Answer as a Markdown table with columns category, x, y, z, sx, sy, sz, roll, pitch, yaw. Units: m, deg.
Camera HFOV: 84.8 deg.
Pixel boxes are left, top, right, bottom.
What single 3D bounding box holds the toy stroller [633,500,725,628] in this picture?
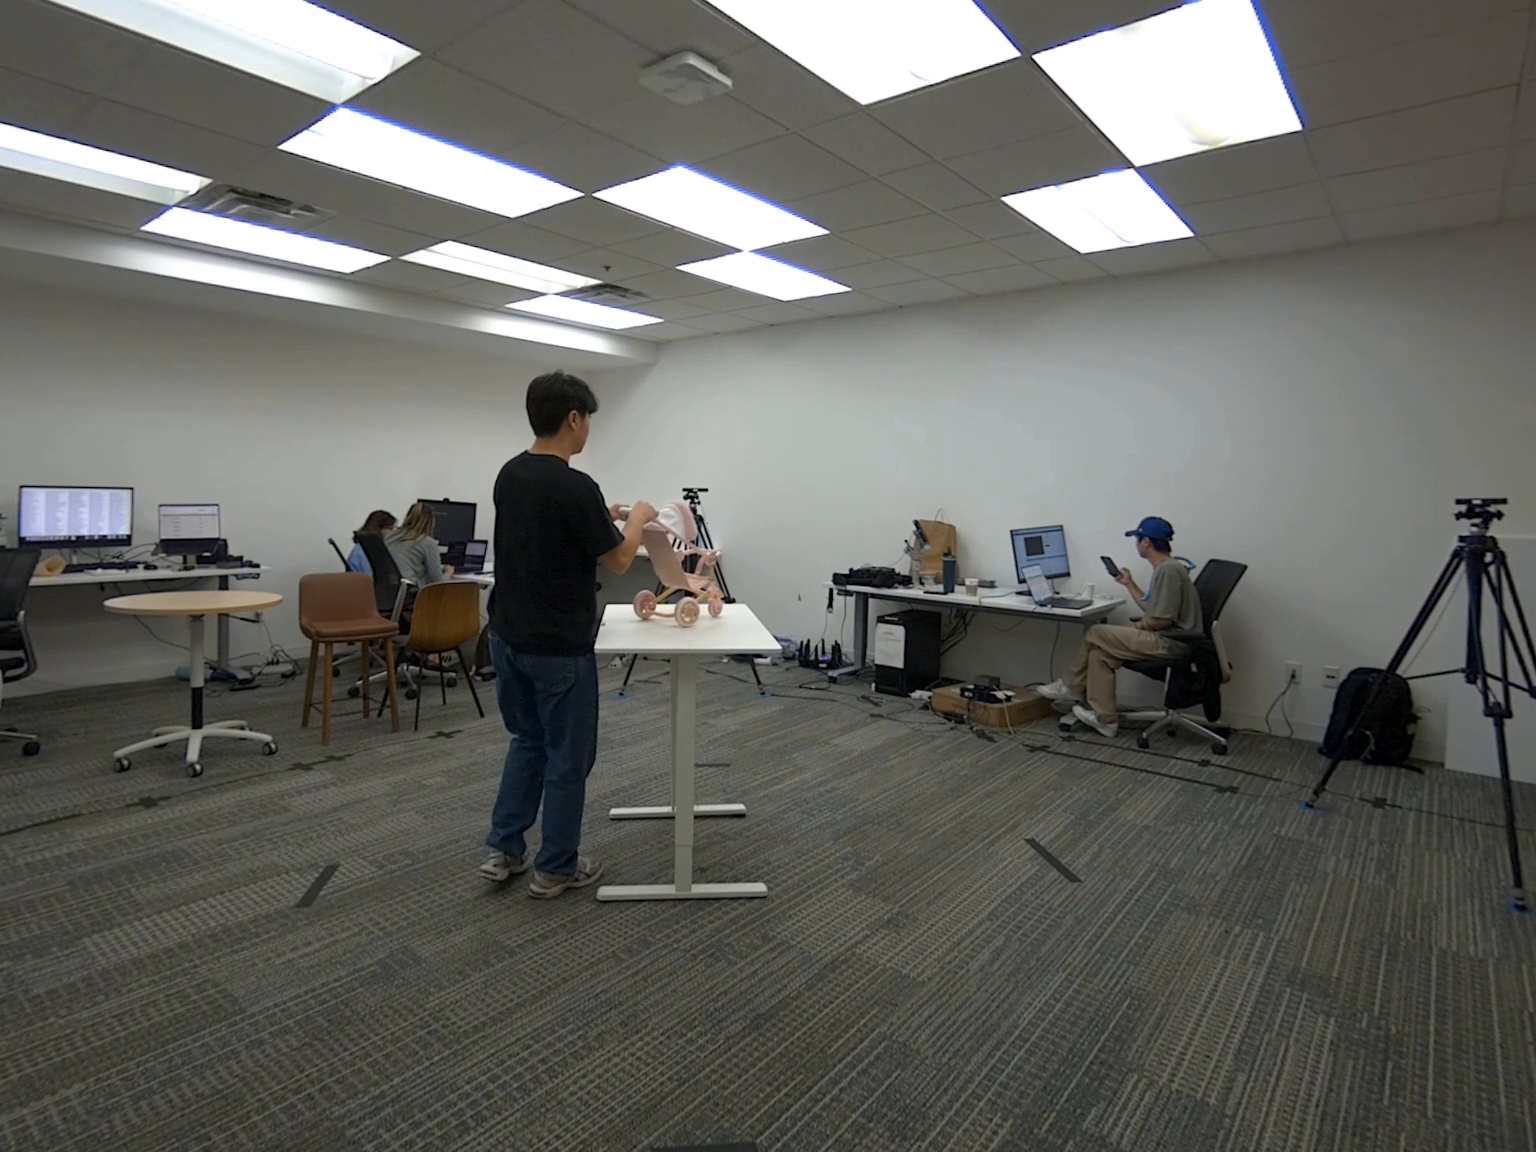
| category | x | y | z | sx | sy | sz | roll | pitch | yaw |
| --- | --- | --- | --- | --- | --- | --- | --- | --- | --- |
| toy stroller | -0.350 | -0.053 | 3.230 | 0.335 | 0.527 | 0.291 | -22 | 17 | -37 |
